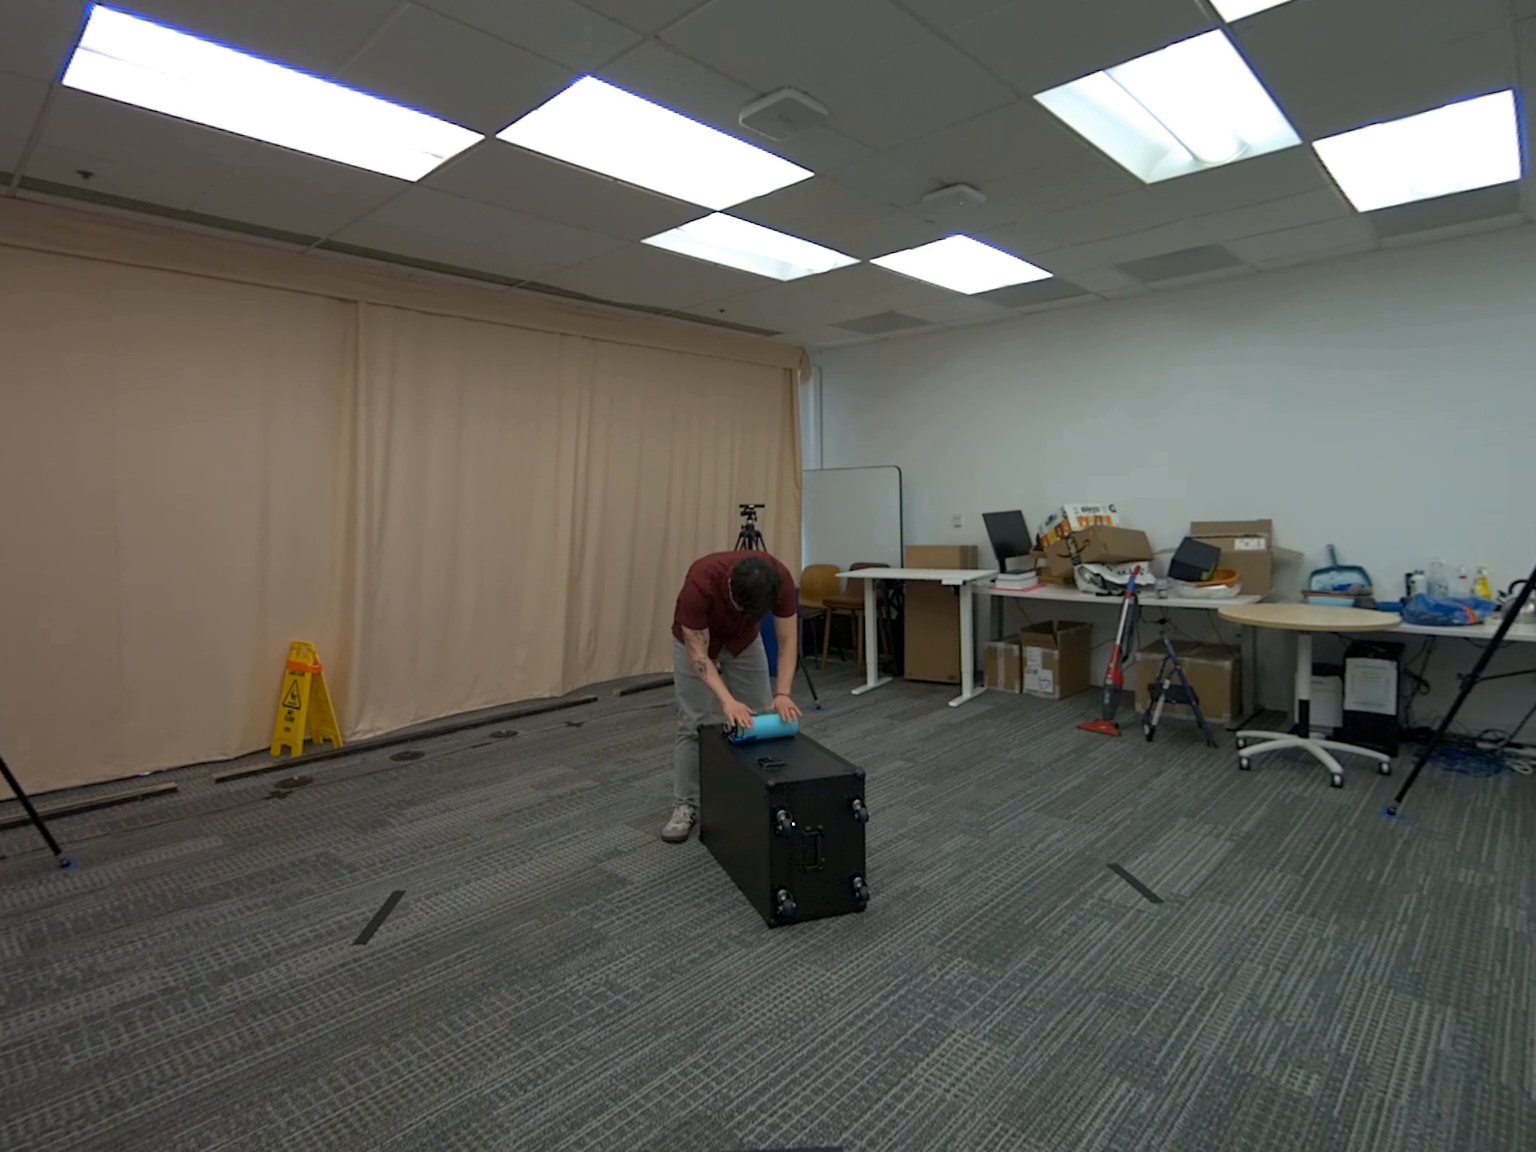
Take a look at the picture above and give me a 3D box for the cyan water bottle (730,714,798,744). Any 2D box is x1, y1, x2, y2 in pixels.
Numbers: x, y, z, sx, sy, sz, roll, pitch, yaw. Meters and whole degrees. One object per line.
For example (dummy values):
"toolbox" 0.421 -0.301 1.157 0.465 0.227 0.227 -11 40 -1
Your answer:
"cyan water bottle" -0.025 0.581 3.260 0.277 0.092 0.094 -3 5 -22
